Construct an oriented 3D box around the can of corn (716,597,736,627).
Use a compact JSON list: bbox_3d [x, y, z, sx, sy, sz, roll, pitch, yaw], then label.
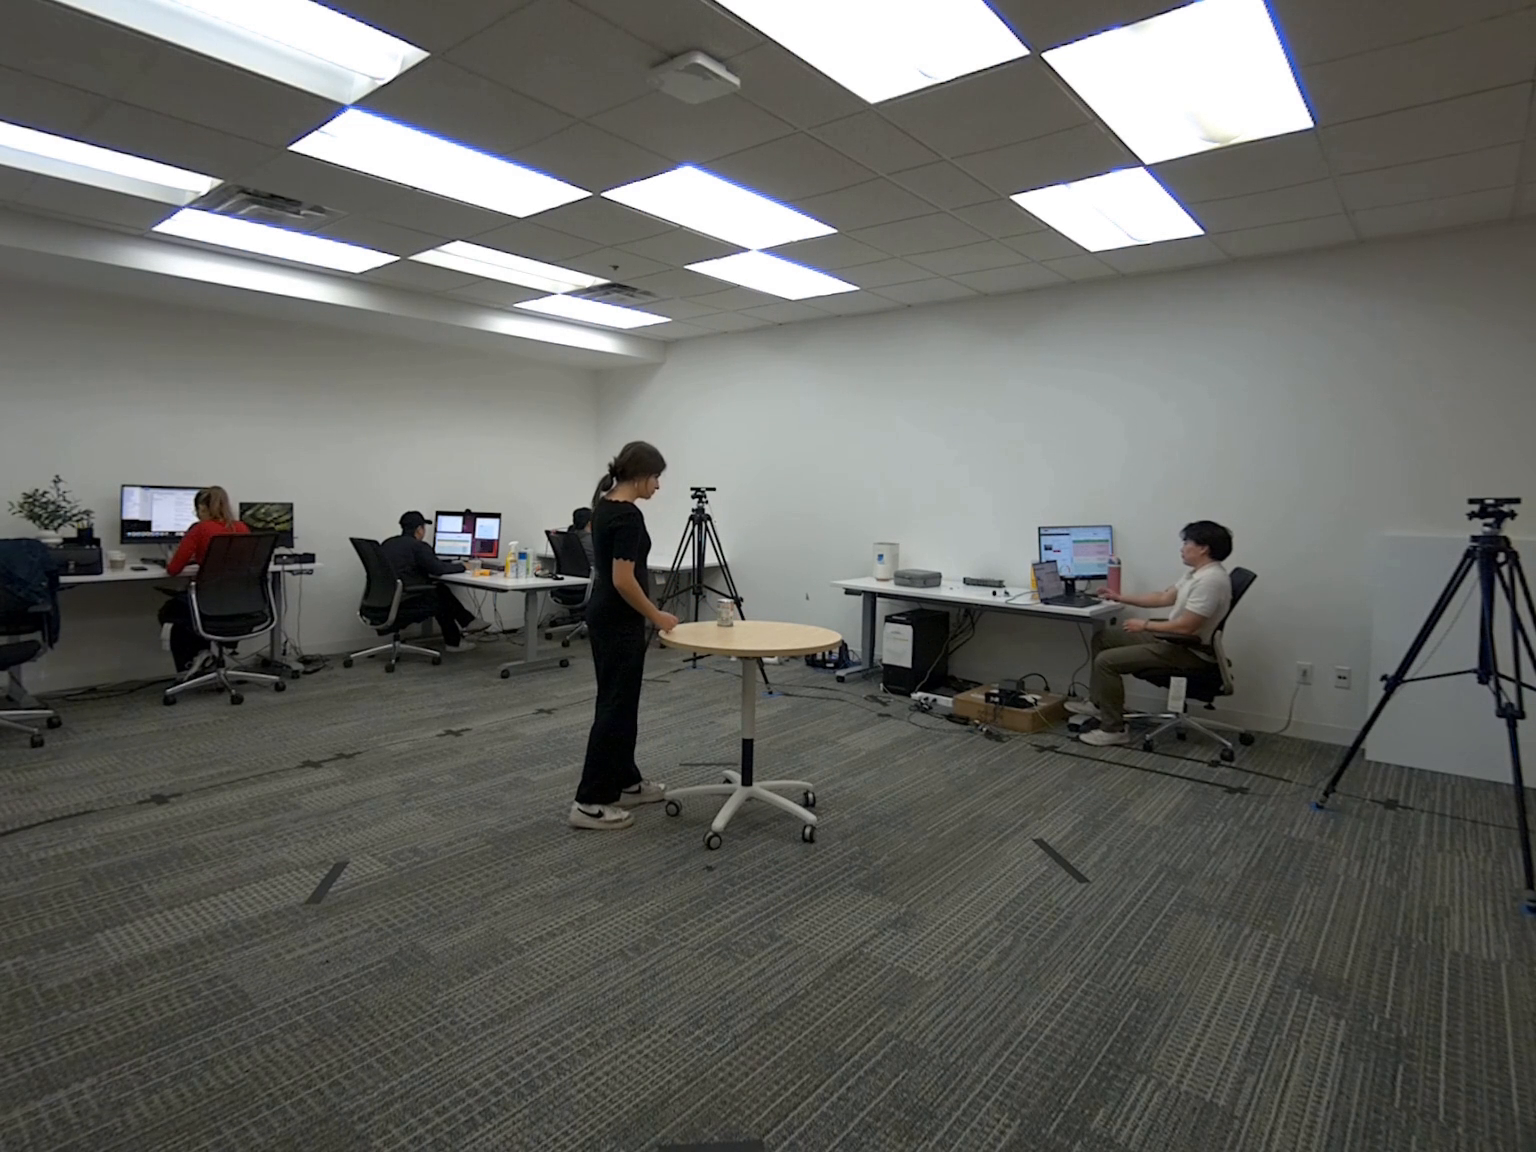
[{"bbox_3d":[-0.202,0.163,3.791,0.074,0.111,0.074,1,4,-2],"label":"can of corn"}]
